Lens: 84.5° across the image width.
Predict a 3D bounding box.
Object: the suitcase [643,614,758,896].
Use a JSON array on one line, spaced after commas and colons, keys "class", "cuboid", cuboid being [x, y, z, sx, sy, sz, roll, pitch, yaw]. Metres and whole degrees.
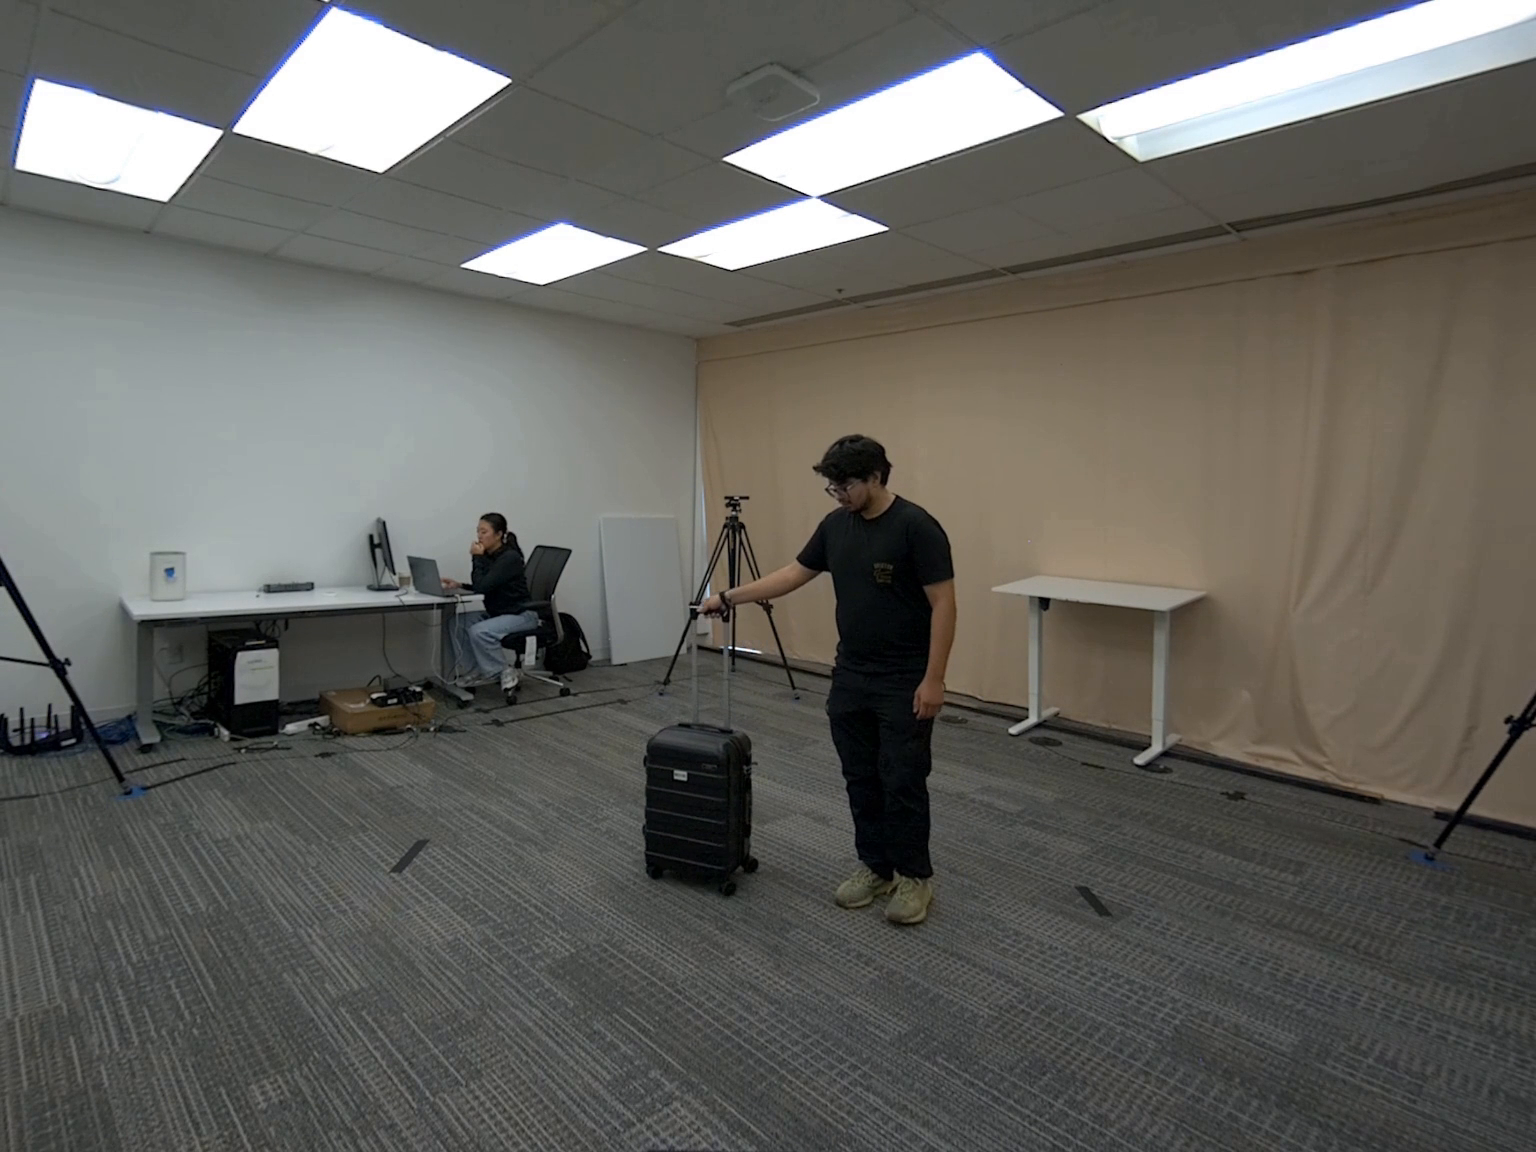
[{"class": "suitcase", "cuboid": [-0.251, 0.629, 3.058, 0.390, 0.974, 0.254, 2, 7, 21]}]
